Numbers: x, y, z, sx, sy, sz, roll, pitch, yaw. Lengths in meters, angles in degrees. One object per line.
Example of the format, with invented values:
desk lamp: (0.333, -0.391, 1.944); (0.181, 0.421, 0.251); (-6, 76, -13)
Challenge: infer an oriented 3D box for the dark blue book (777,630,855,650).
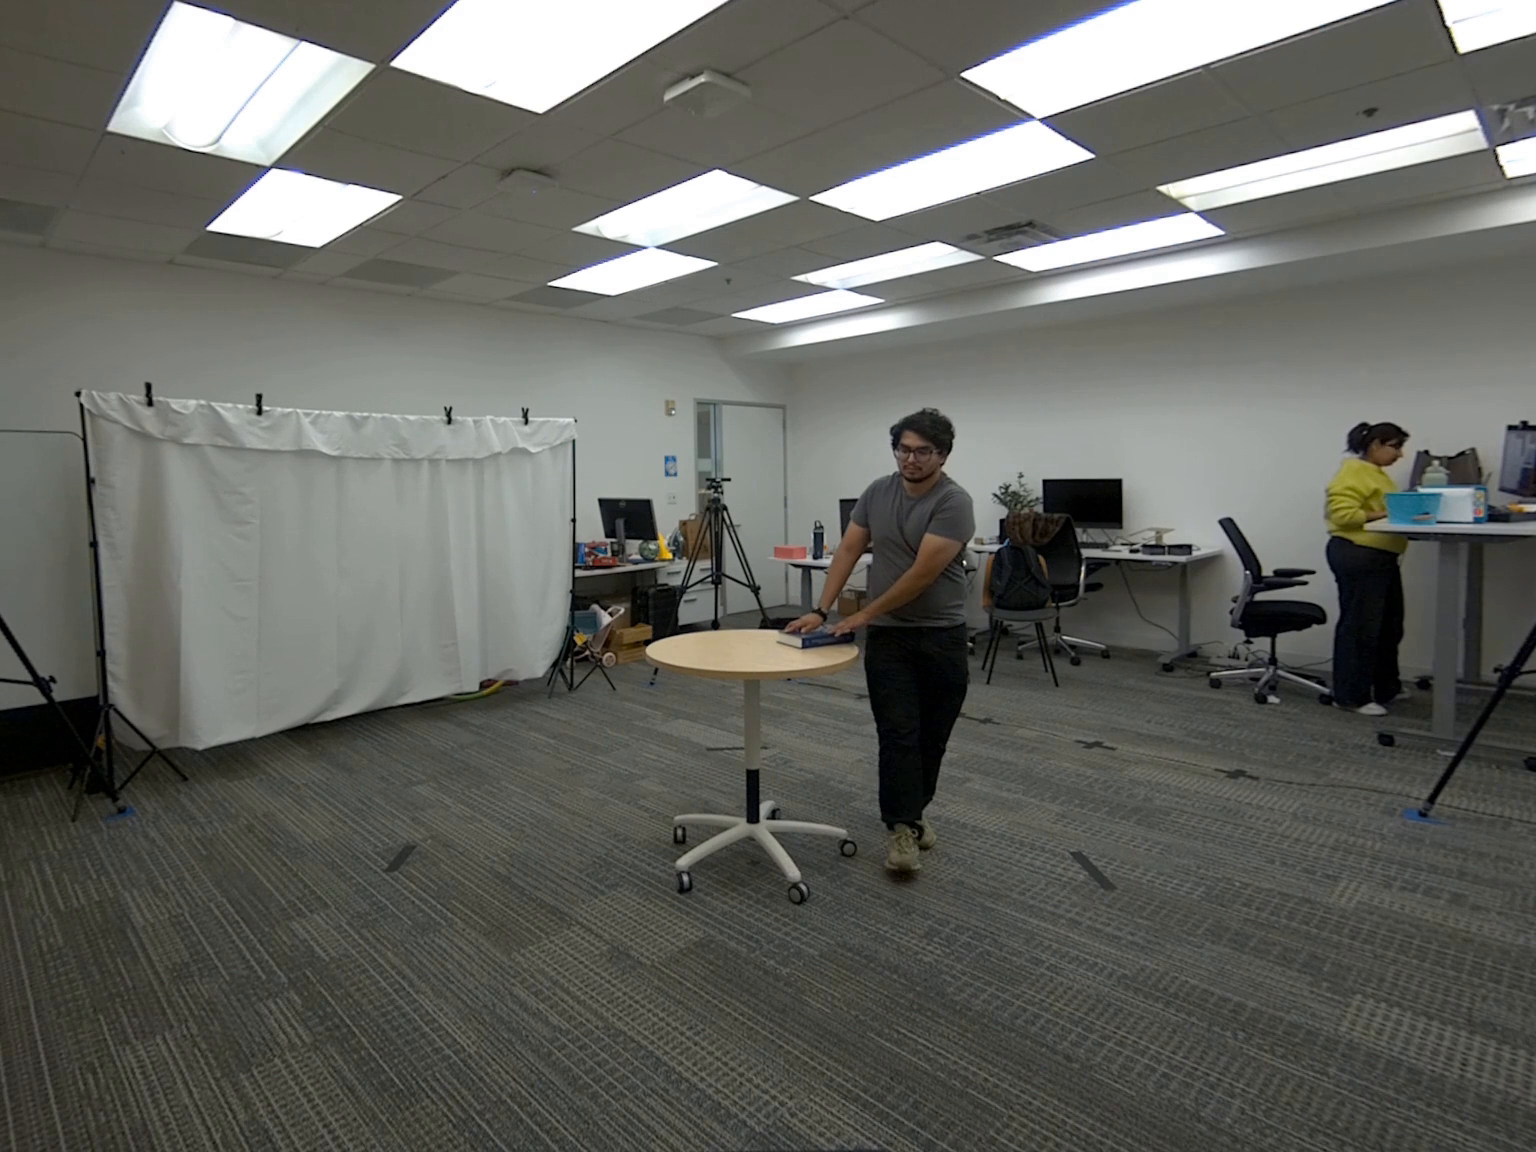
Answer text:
dark blue book: (0.178, 0.227, 3.188); (0.239, 0.045, 0.168); (-4, 7, -31)
